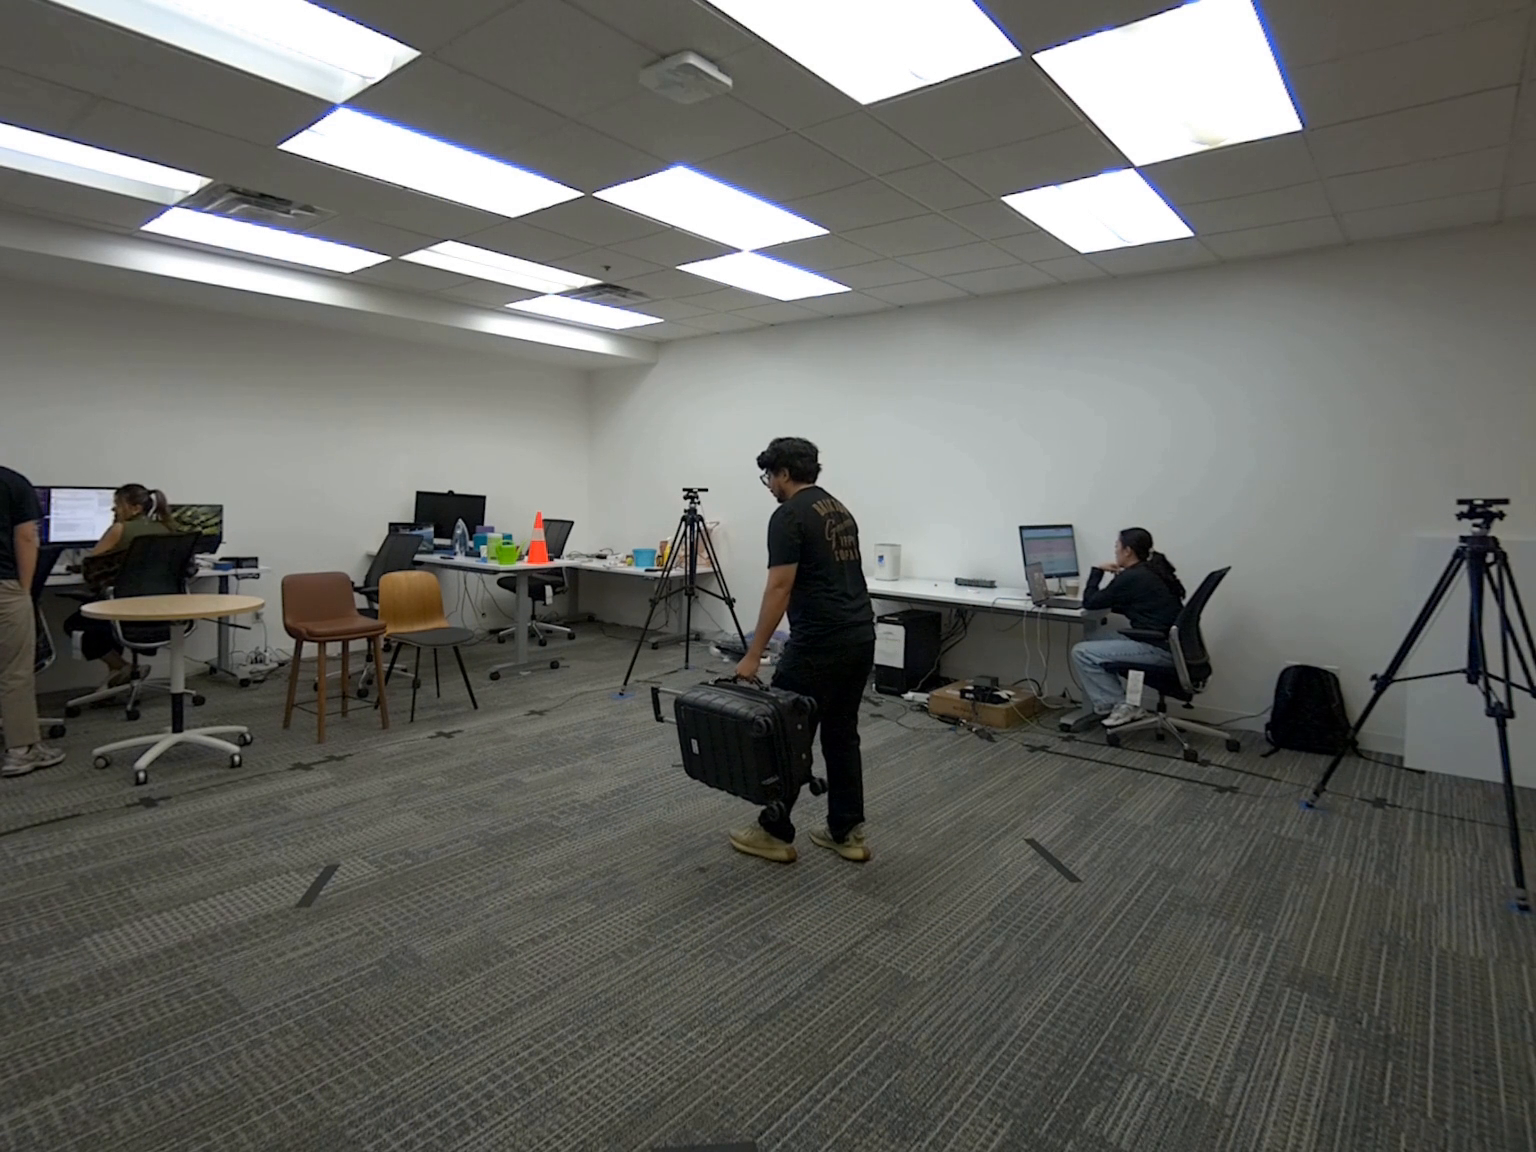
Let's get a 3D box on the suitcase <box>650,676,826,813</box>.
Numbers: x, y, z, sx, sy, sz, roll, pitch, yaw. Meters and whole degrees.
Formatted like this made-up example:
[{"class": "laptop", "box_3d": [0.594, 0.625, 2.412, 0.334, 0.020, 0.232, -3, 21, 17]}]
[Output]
[{"class": "suitcase", "box_3d": [-0.242, 0.576, 3.224, 0.251, 0.381, 1.010, -14, 10, -40]}]
